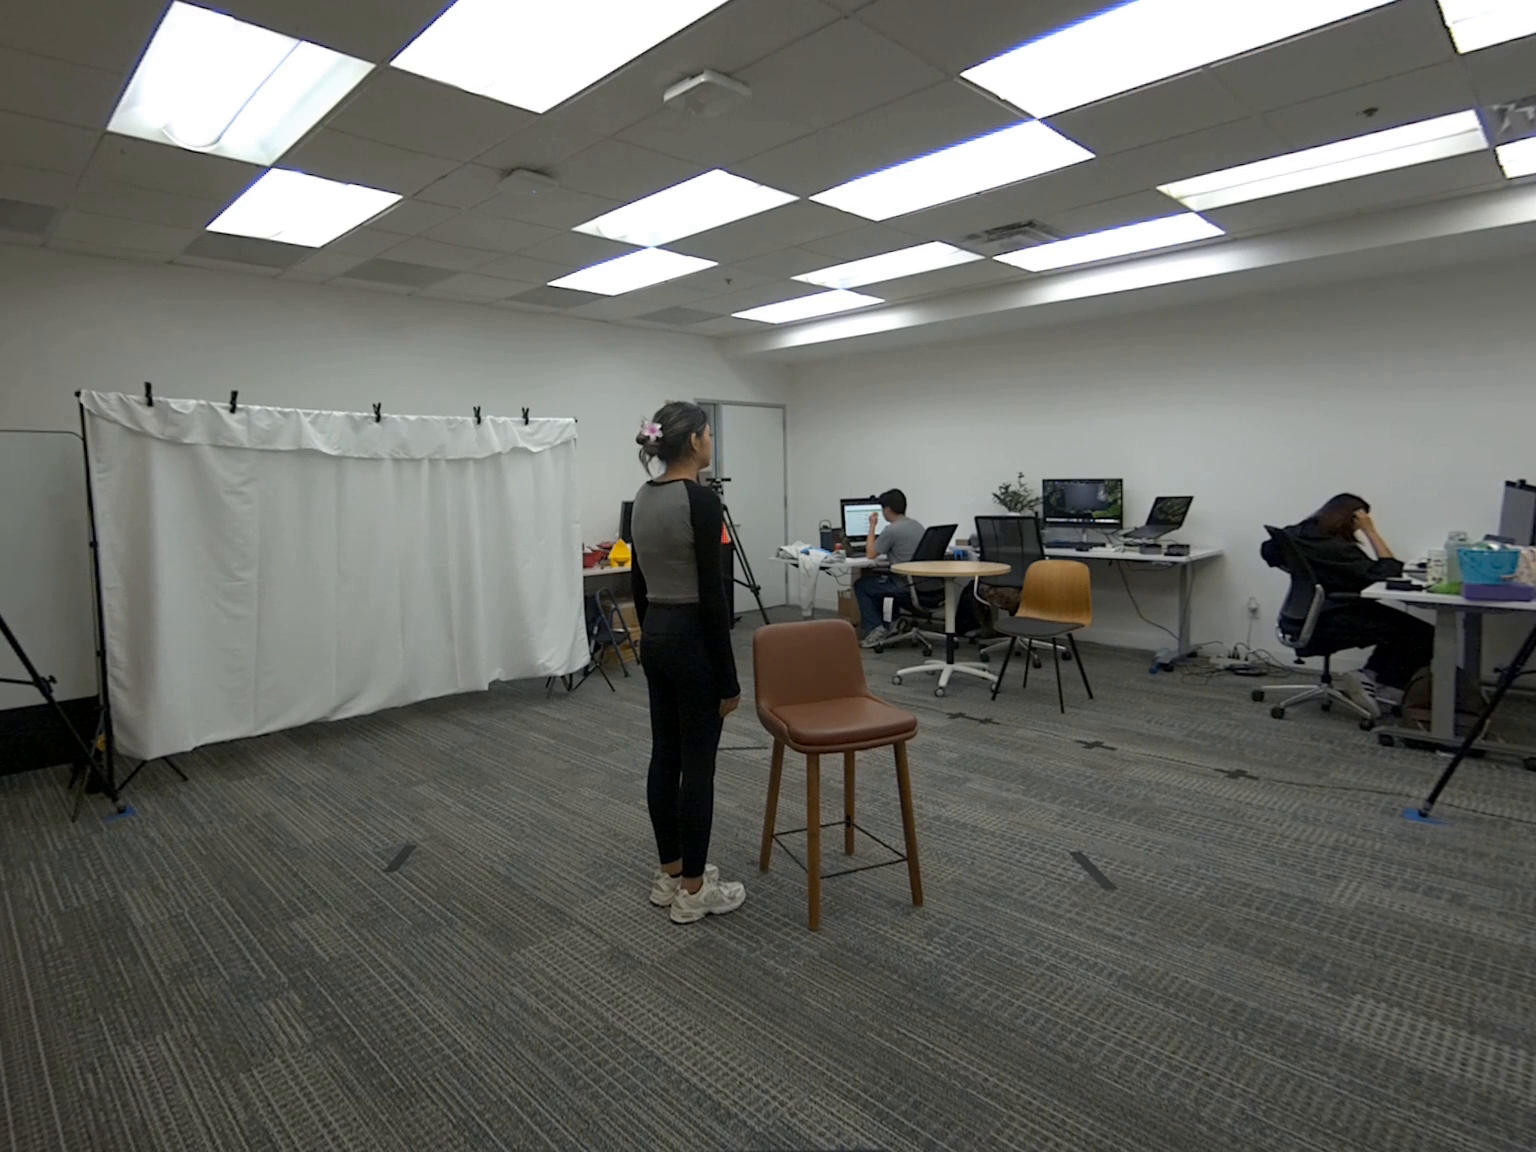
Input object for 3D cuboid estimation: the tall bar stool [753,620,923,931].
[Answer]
[{"bbox_3d":[0.225,0.627,2.889,0.448,0.888,0.478,-3,3,-23],"label":"tall bar stool"}]
